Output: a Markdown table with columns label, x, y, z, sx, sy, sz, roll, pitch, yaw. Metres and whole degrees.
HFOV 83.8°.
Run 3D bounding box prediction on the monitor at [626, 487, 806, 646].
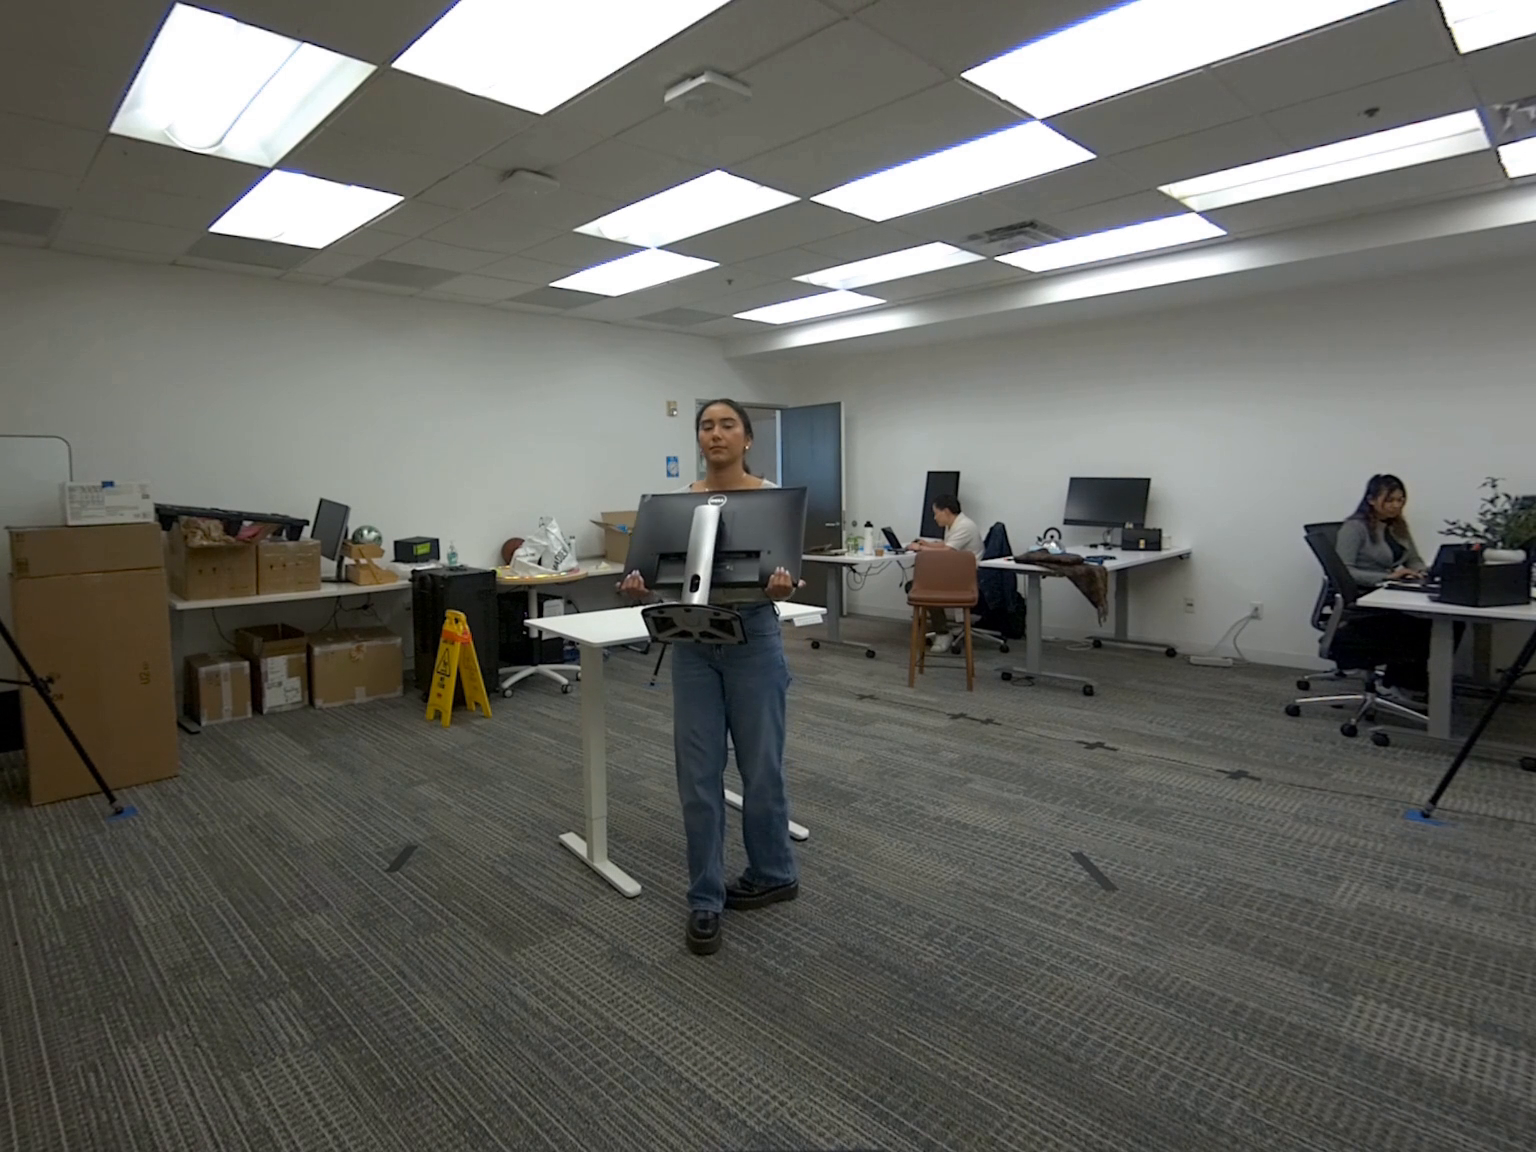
| label | x | y | z | sx | sy | sz | roll | pitch | yaw |
| --- | --- | --- | --- | --- | --- | --- | --- | --- | --- |
| monitor | -0.171 | -0.060 | 2.479 | 0.546 | 0.533 | 0.181 | 0 | -40 | 12 |
